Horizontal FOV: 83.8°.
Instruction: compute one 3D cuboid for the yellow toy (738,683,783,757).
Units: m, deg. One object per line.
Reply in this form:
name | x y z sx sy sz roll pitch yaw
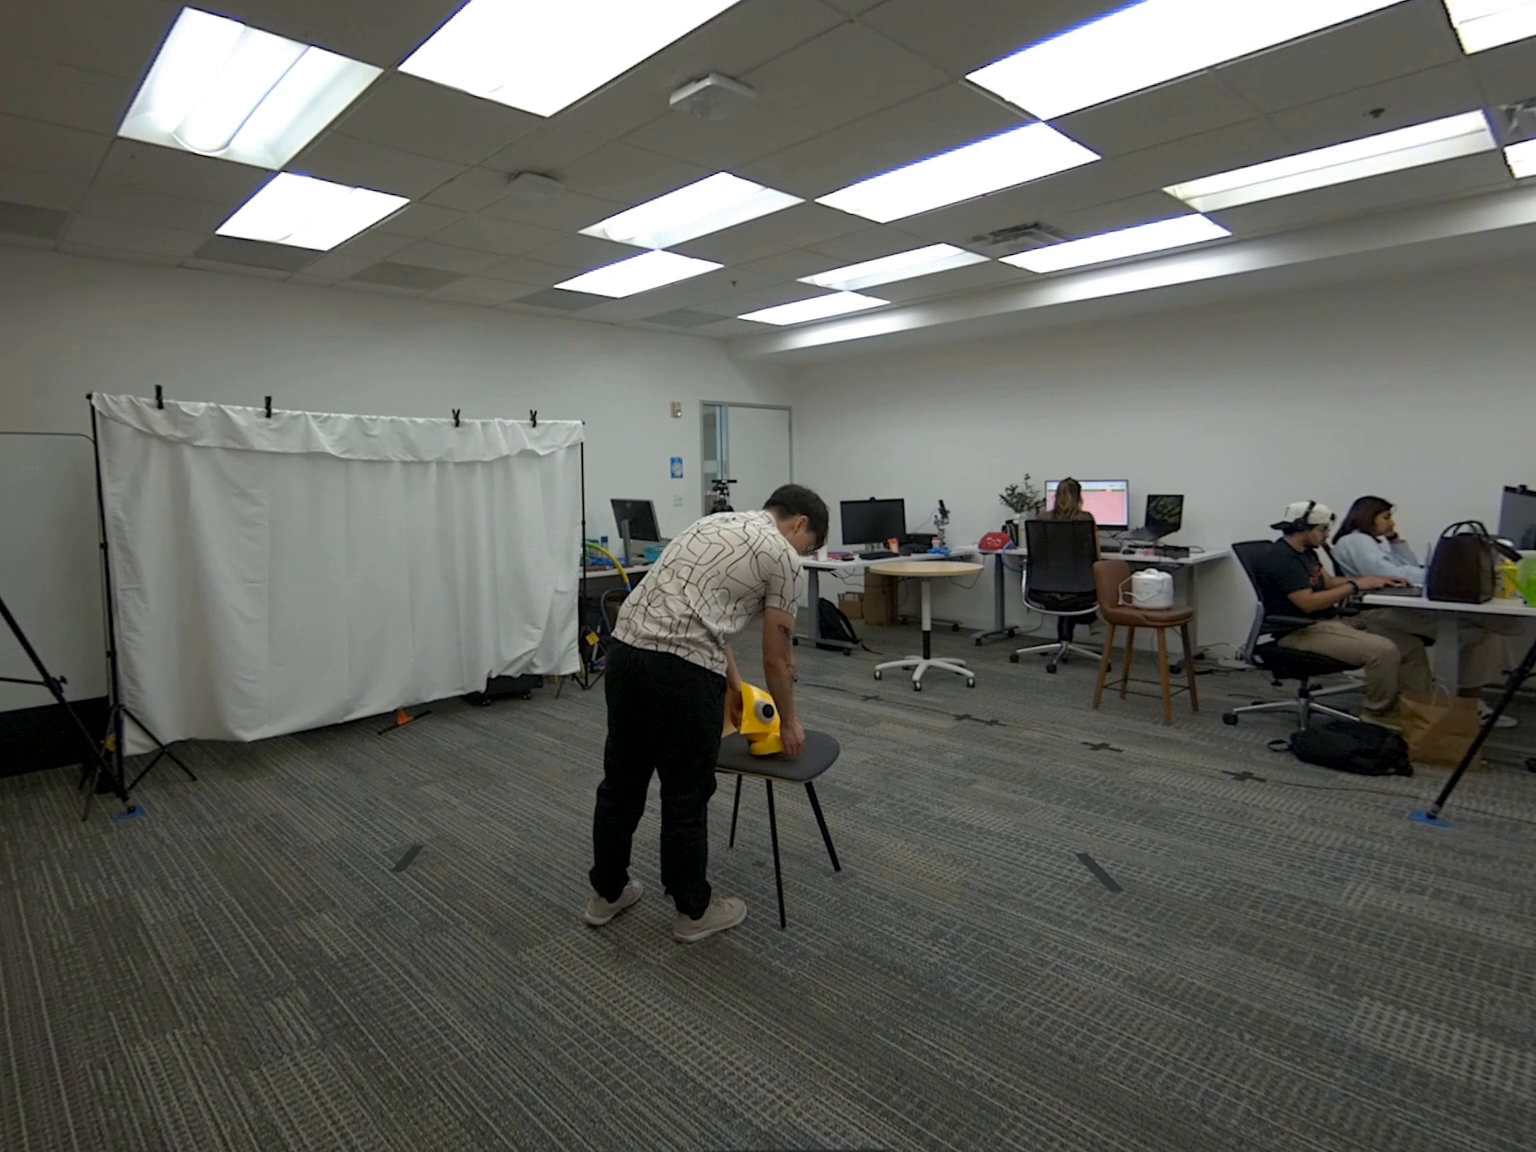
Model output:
yellow toy | -0.015 0.456 2.874 0.193 0.231 0.205 -11 0 -3
